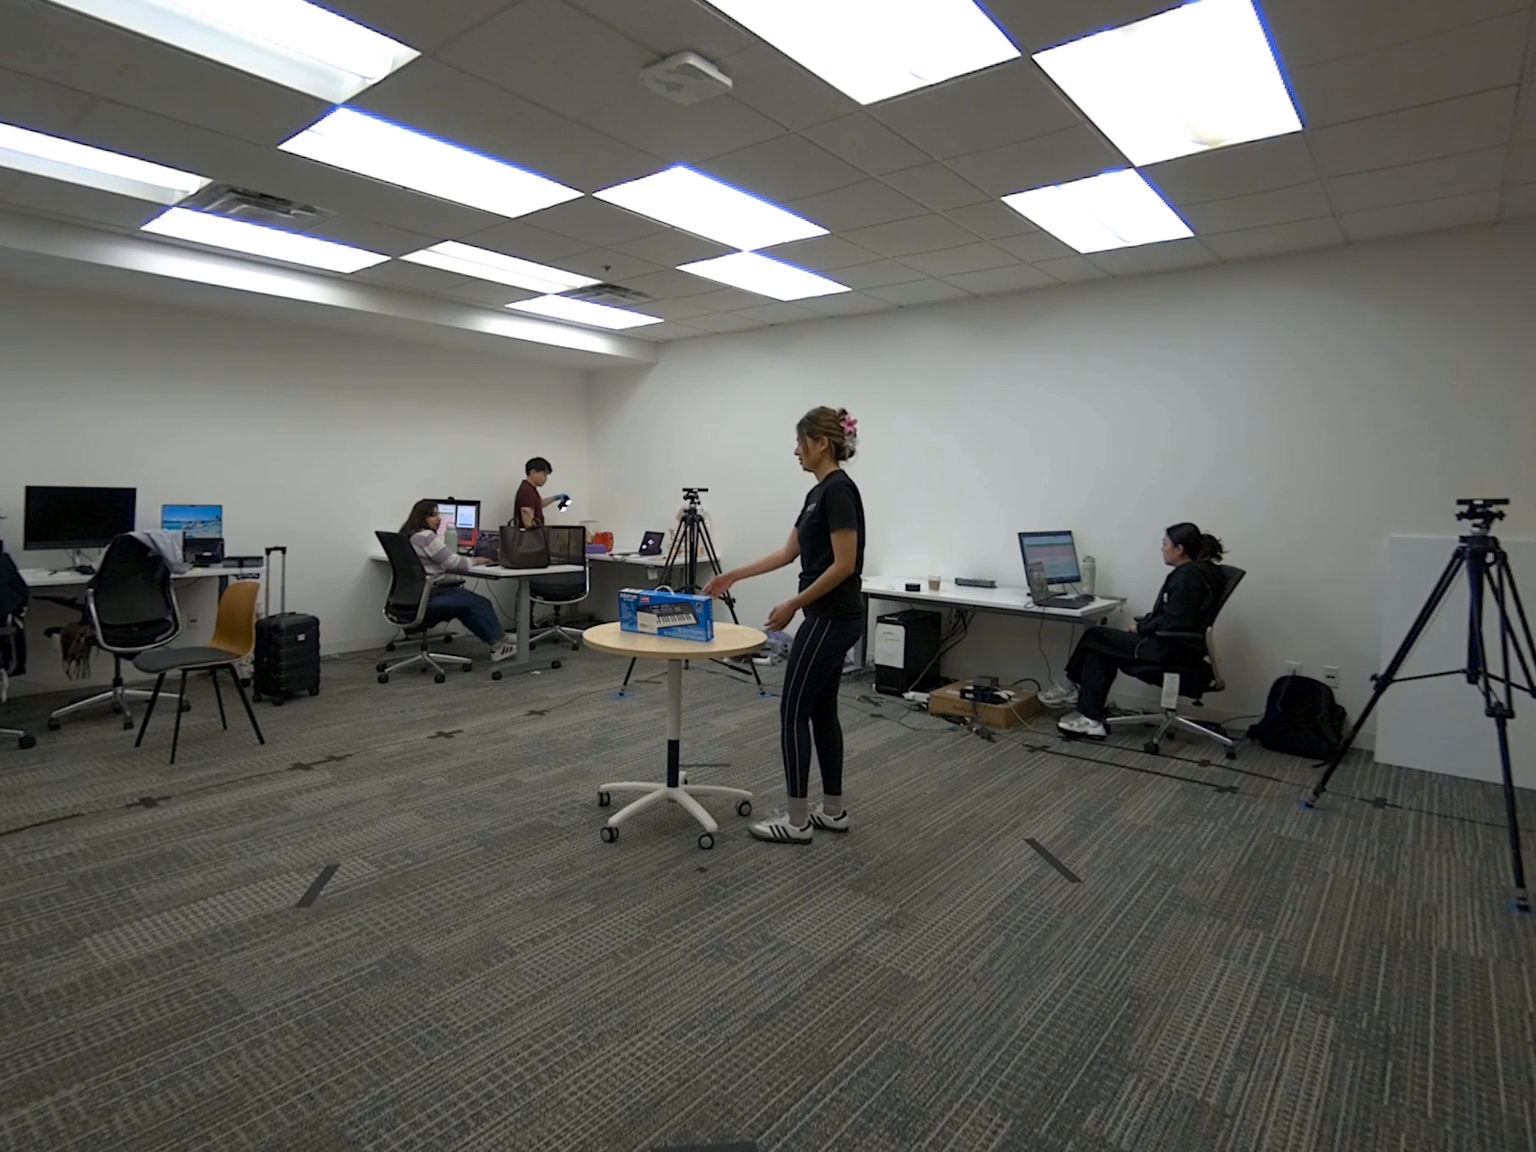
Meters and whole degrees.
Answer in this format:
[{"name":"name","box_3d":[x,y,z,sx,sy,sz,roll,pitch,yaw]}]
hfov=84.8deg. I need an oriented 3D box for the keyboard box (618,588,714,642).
[{"name":"keyboard box","box_3d":[-0.437,0.157,3.509,0.450,0.174,0.058,5,12,31]}]
